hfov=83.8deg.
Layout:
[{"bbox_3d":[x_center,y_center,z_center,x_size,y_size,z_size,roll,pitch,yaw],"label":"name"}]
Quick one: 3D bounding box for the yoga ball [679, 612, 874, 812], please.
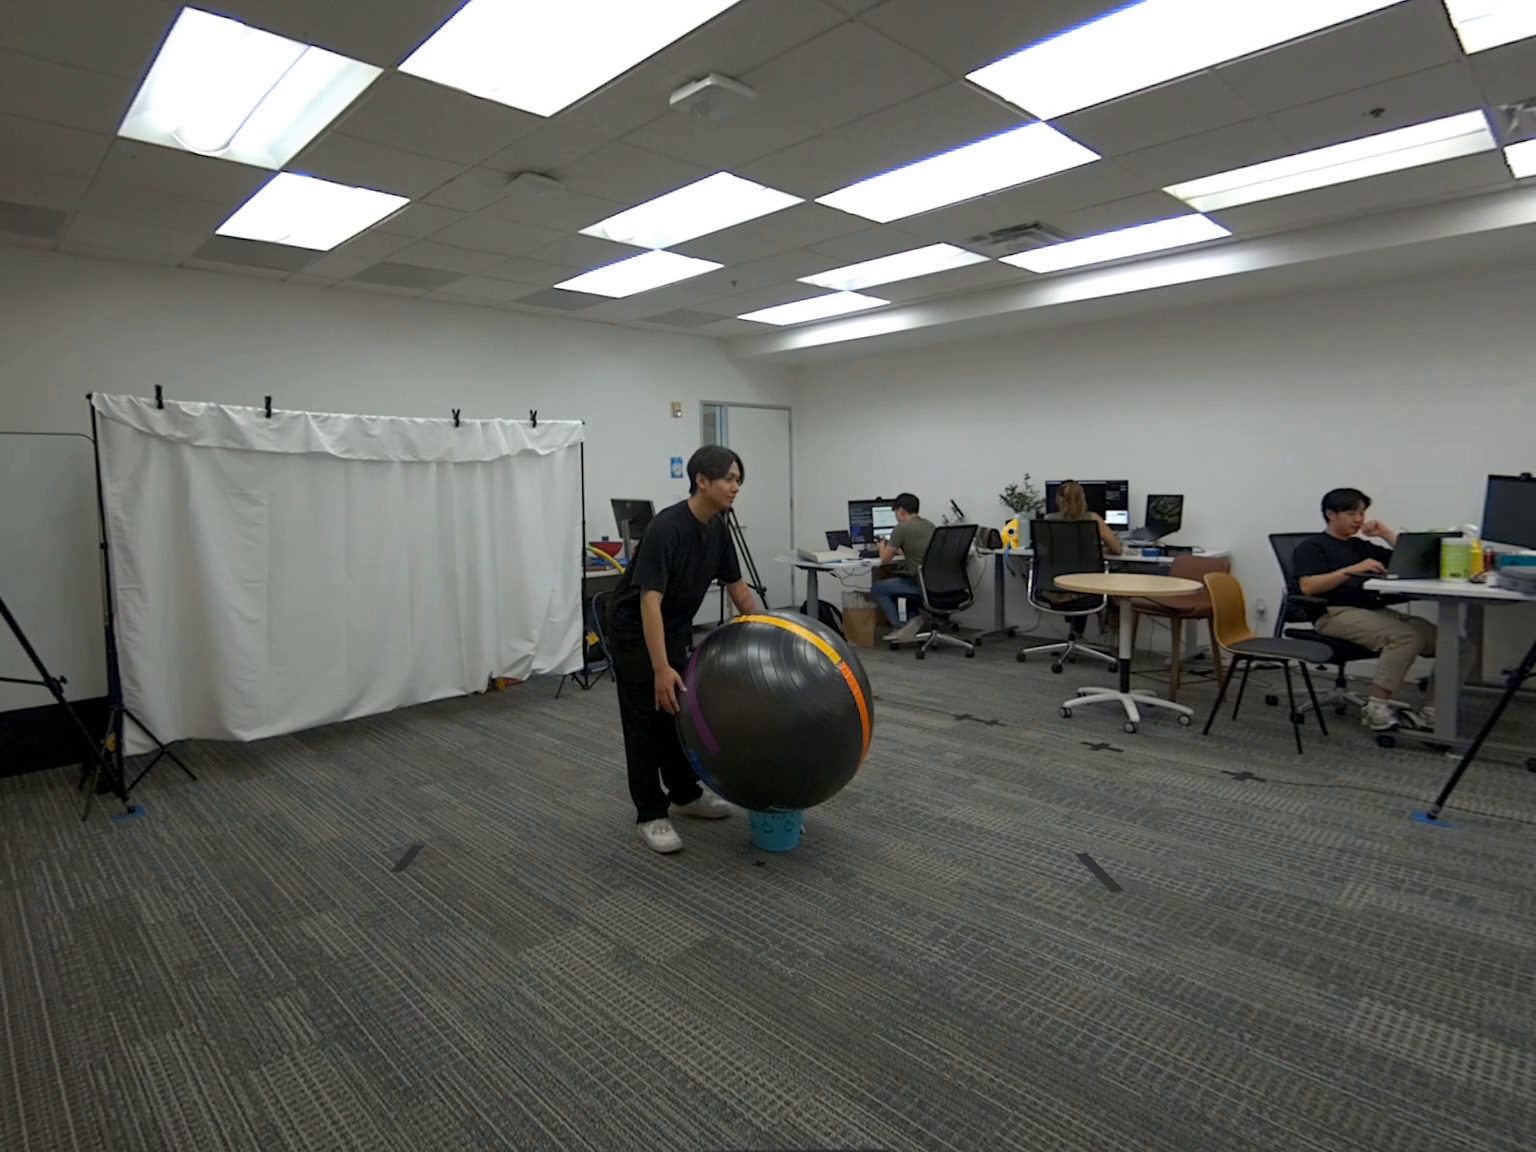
[{"bbox_3d":[0.029,0.516,3.275,0.757,0.755,0.762,-1,5,-2],"label":"yoga ball"}]
